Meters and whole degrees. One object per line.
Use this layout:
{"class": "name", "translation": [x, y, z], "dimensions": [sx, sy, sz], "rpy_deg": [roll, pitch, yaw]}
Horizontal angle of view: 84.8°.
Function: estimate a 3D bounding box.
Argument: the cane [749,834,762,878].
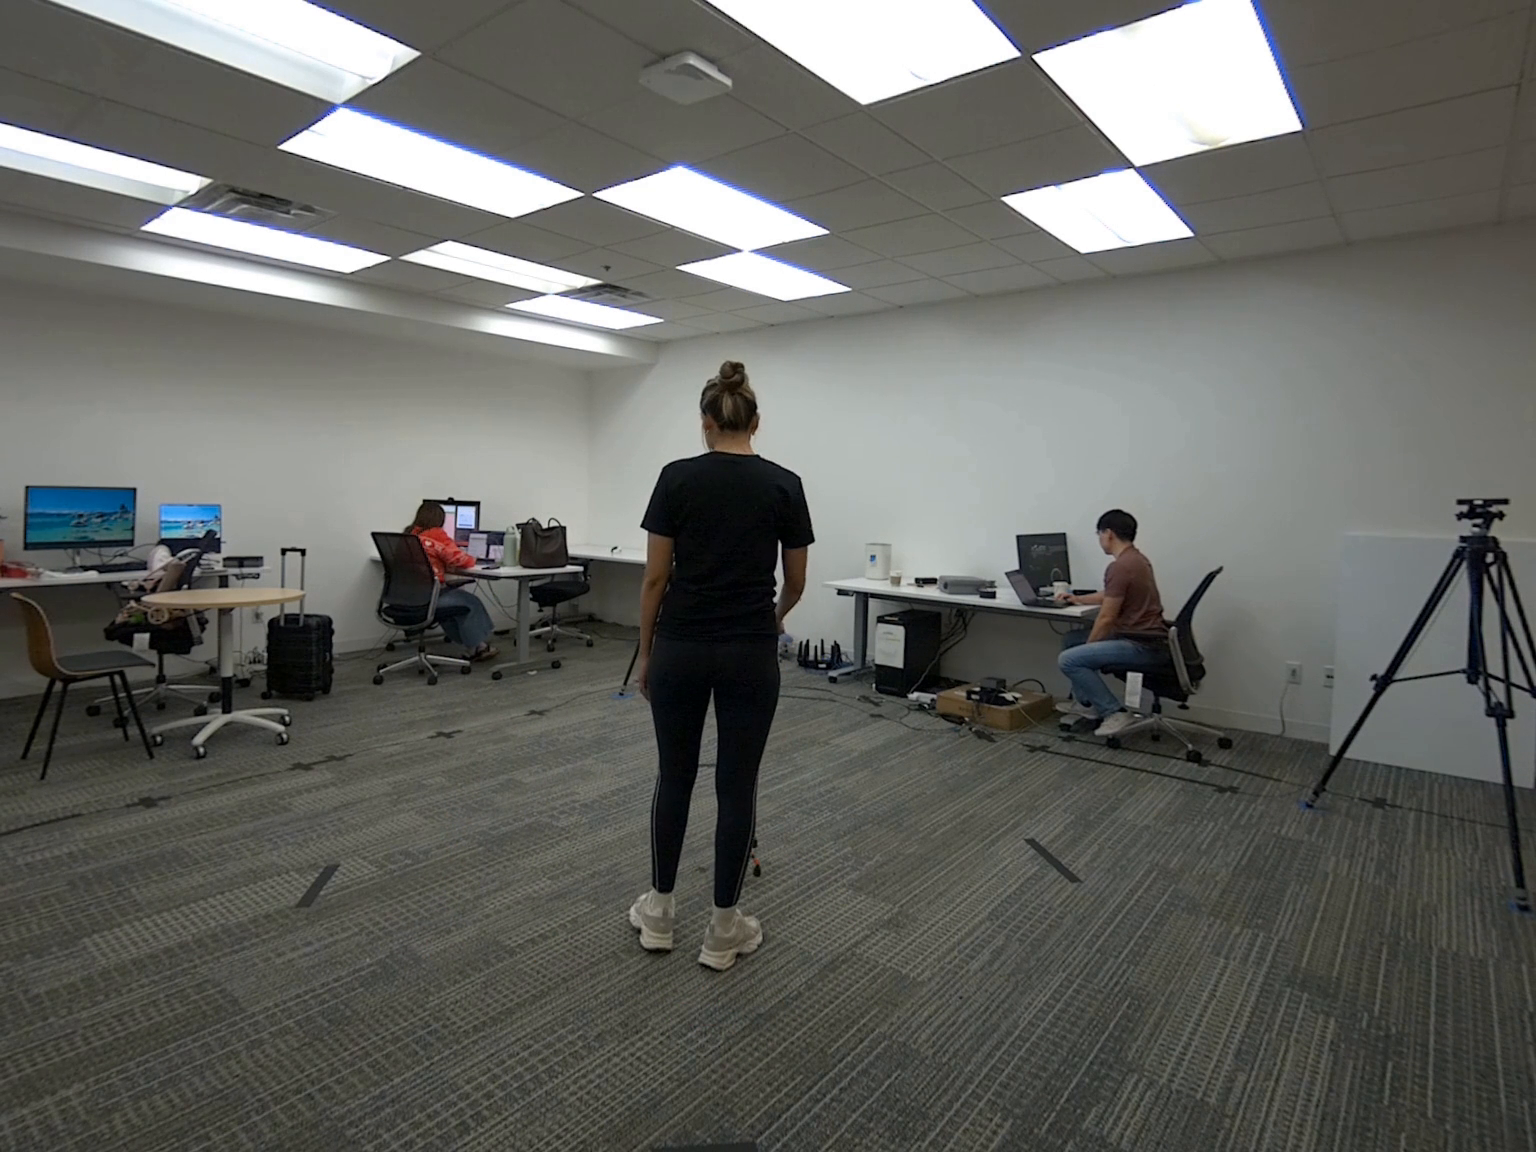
{"class": "cane", "translation": [-0.056, 0.588, 2.988], "dimensions": [0.151, 0.899, 0.209], "rpy_deg": [6, 11, -5]}
